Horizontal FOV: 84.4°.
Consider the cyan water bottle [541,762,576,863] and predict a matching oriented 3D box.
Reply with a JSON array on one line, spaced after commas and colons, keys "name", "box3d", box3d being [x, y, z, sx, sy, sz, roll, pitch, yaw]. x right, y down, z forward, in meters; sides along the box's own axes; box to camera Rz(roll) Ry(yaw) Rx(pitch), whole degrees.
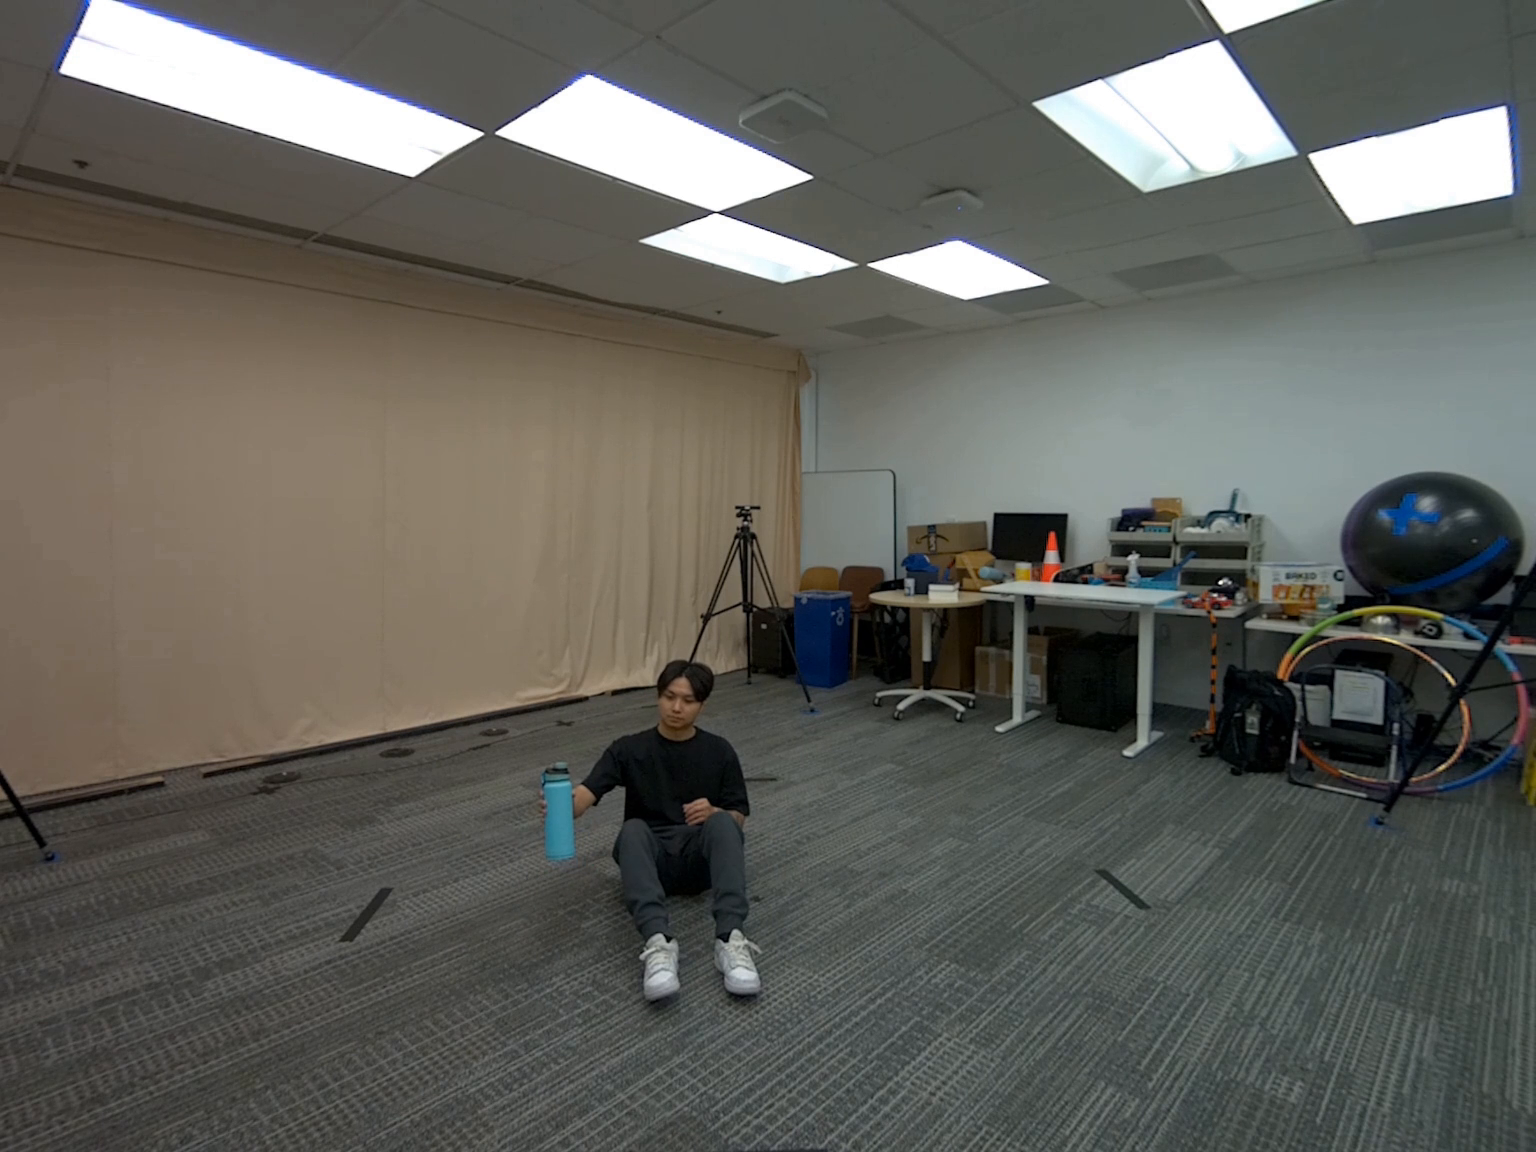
[{"name": "cyan water bottle", "box3d": [-0.655, 0.733, 2.619, 0.092, 0.285, 0.092, -6, -8, -3]}]
